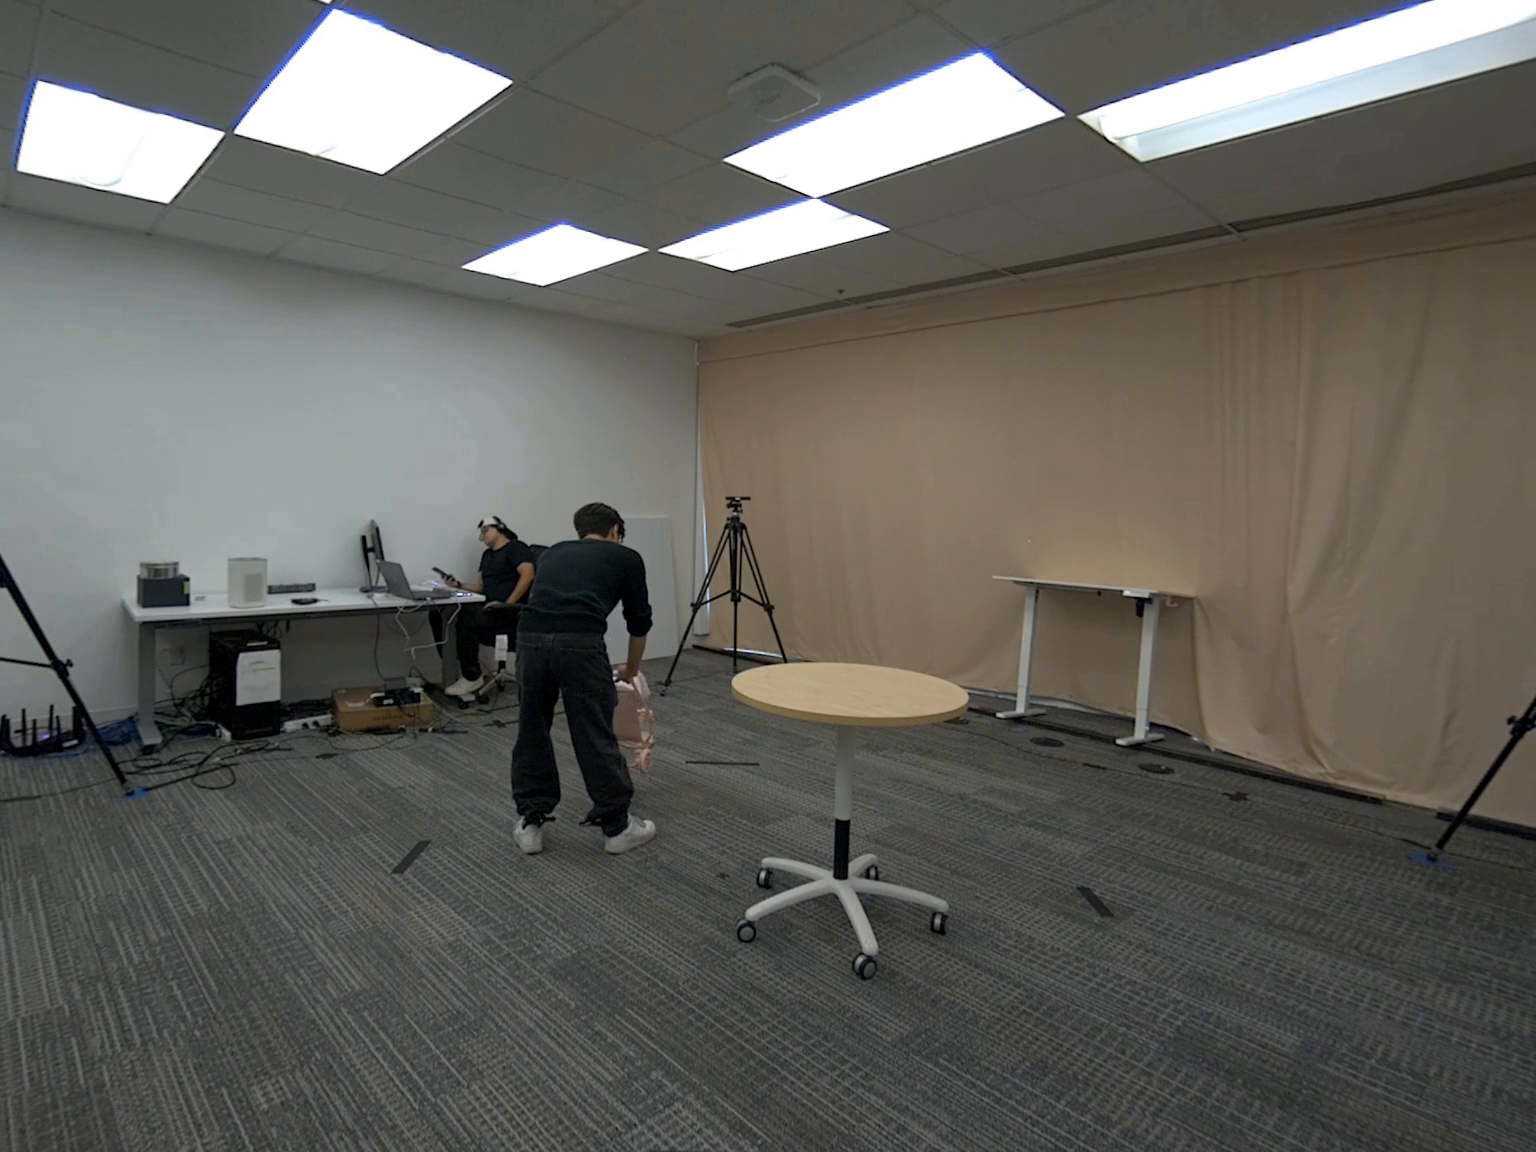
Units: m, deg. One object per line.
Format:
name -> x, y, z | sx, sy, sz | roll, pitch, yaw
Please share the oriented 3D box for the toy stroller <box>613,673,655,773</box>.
toy stroller -> -0.657, 0.655, 3.885 | 0.285, 0.532, 0.338 | -1, 6, 18
